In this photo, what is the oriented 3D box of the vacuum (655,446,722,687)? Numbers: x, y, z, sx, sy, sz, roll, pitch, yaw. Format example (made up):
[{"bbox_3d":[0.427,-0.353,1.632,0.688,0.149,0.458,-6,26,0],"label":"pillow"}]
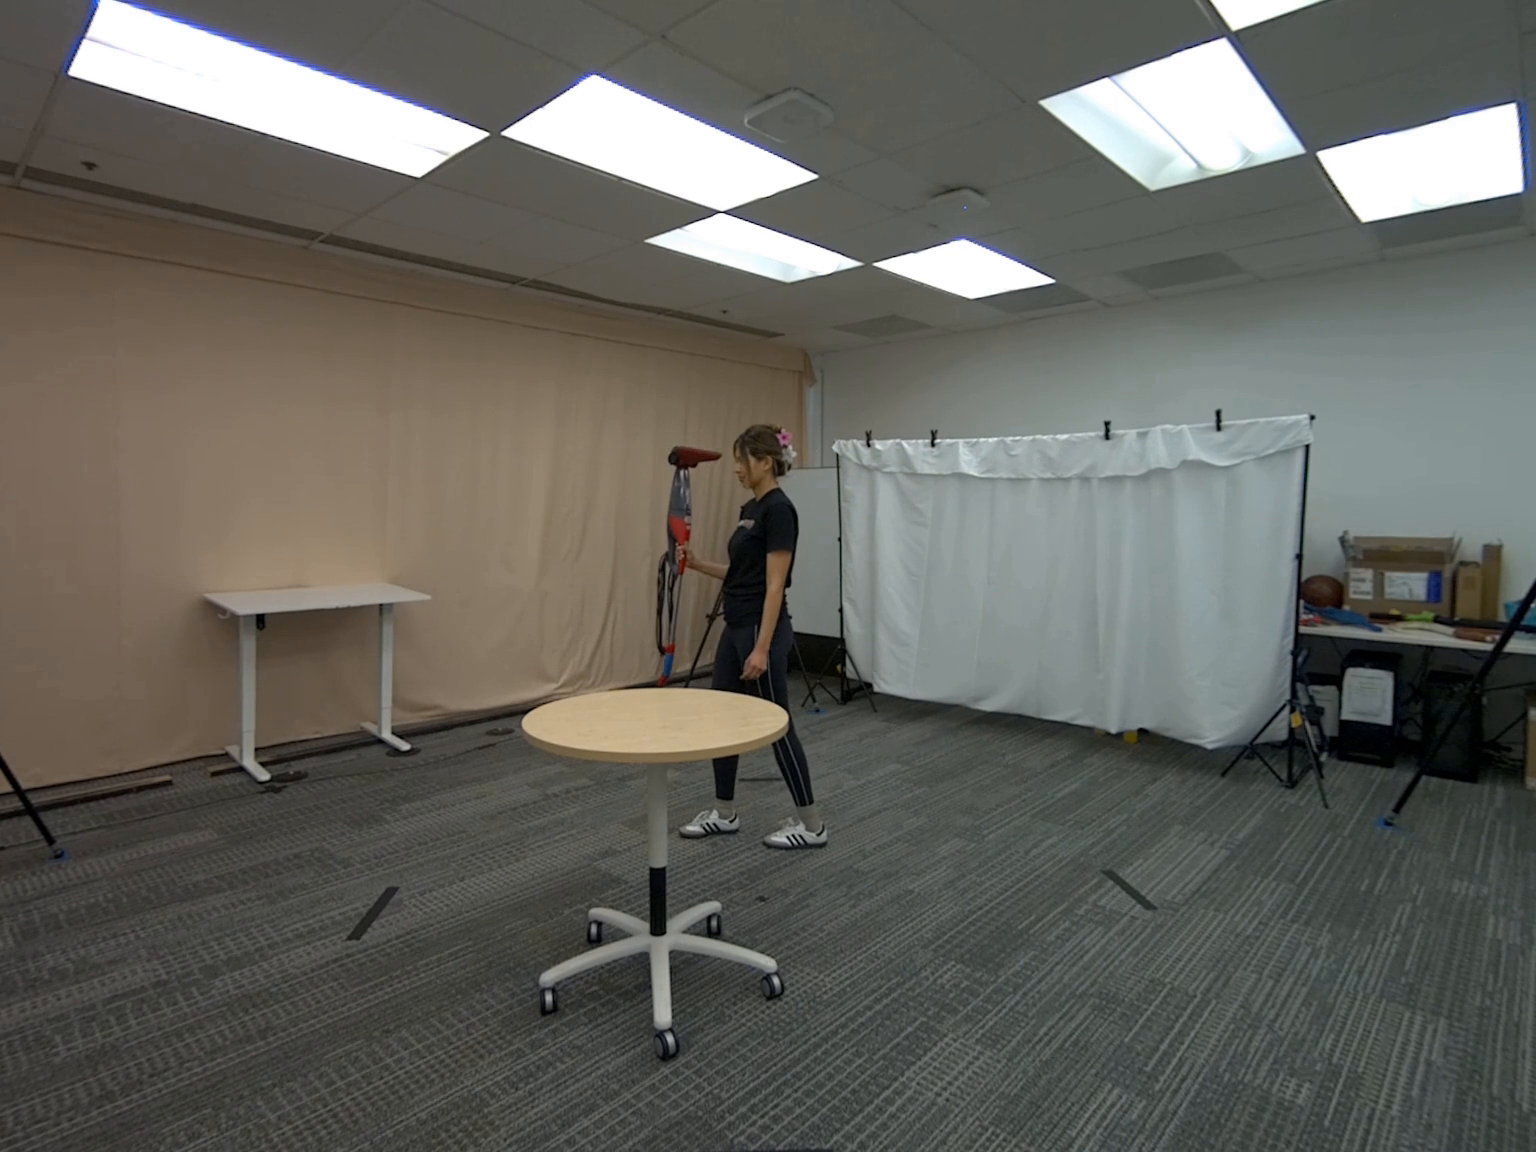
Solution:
[{"bbox_3d":[-0.409,-0.004,3.637,0.149,1.047,0.244,14,7,43],"label":"vacuum"}]
